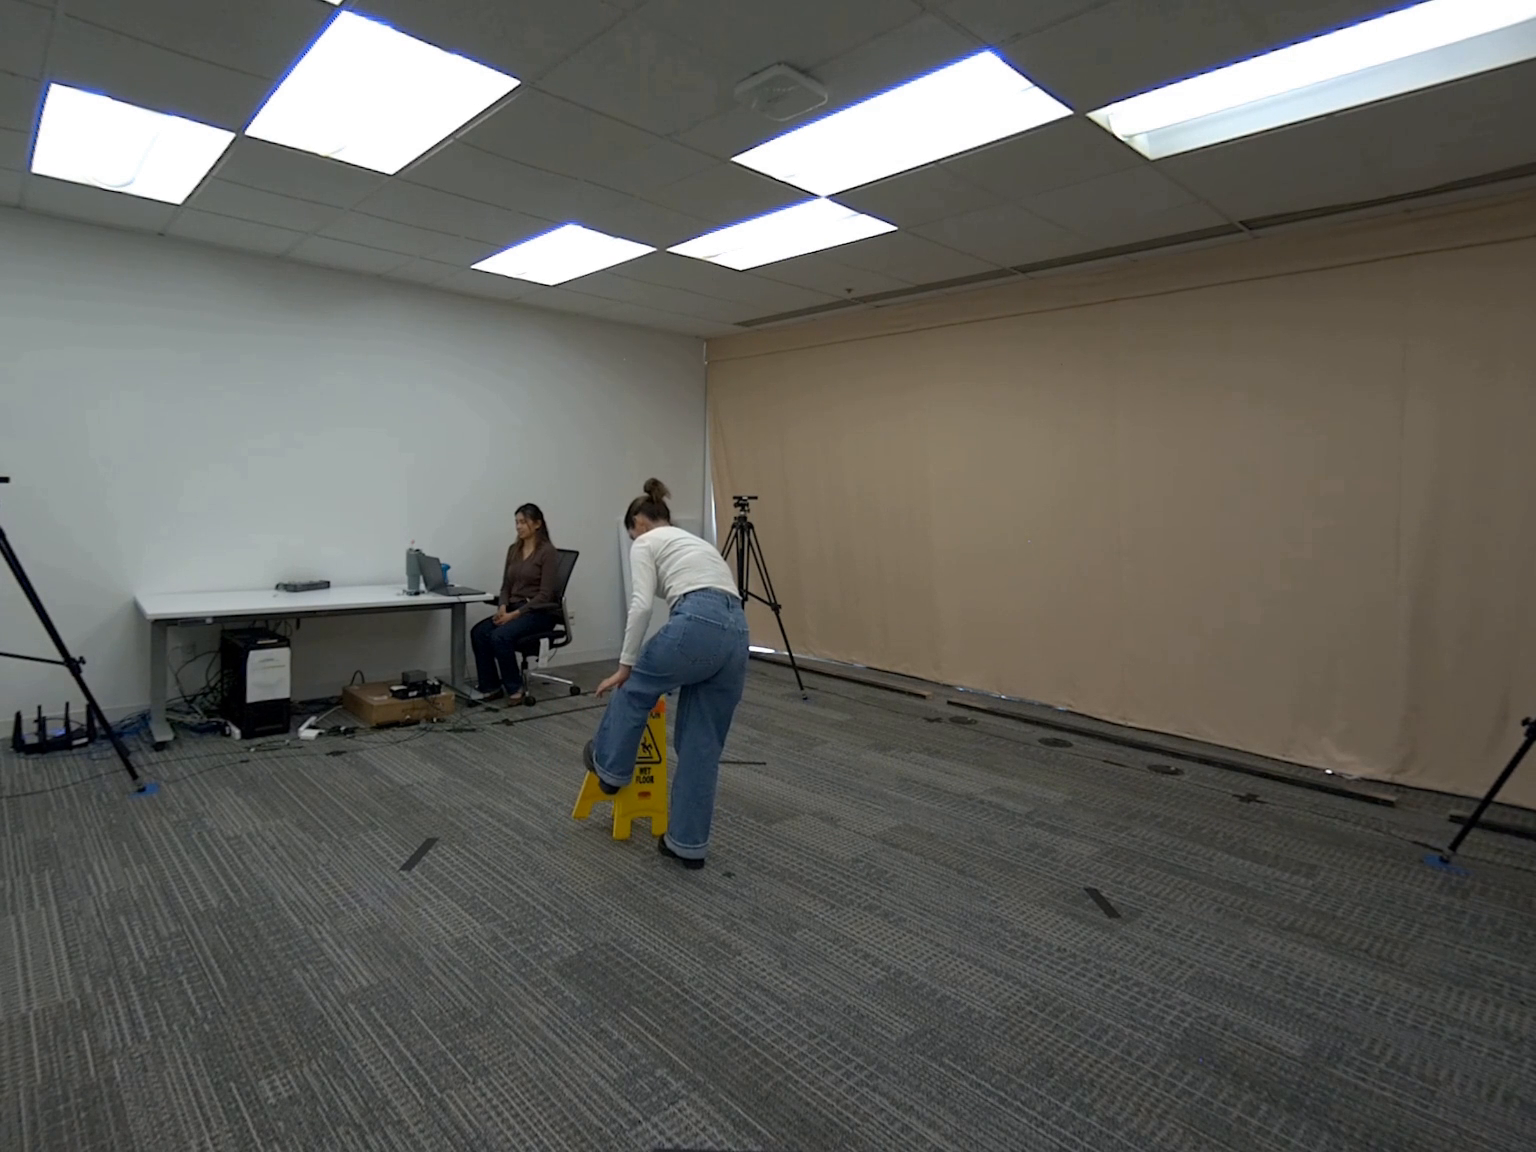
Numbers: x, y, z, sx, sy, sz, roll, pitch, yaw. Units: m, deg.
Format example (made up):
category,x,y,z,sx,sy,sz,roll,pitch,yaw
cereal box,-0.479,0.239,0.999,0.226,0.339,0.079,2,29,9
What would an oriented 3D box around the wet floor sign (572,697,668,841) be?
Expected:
category,x,y,z,sx,sy,sz,roll,pitch,yaw
wet floor sign,-0.569,0.721,3.503,0.297,0.648,0.274,4,-7,42
